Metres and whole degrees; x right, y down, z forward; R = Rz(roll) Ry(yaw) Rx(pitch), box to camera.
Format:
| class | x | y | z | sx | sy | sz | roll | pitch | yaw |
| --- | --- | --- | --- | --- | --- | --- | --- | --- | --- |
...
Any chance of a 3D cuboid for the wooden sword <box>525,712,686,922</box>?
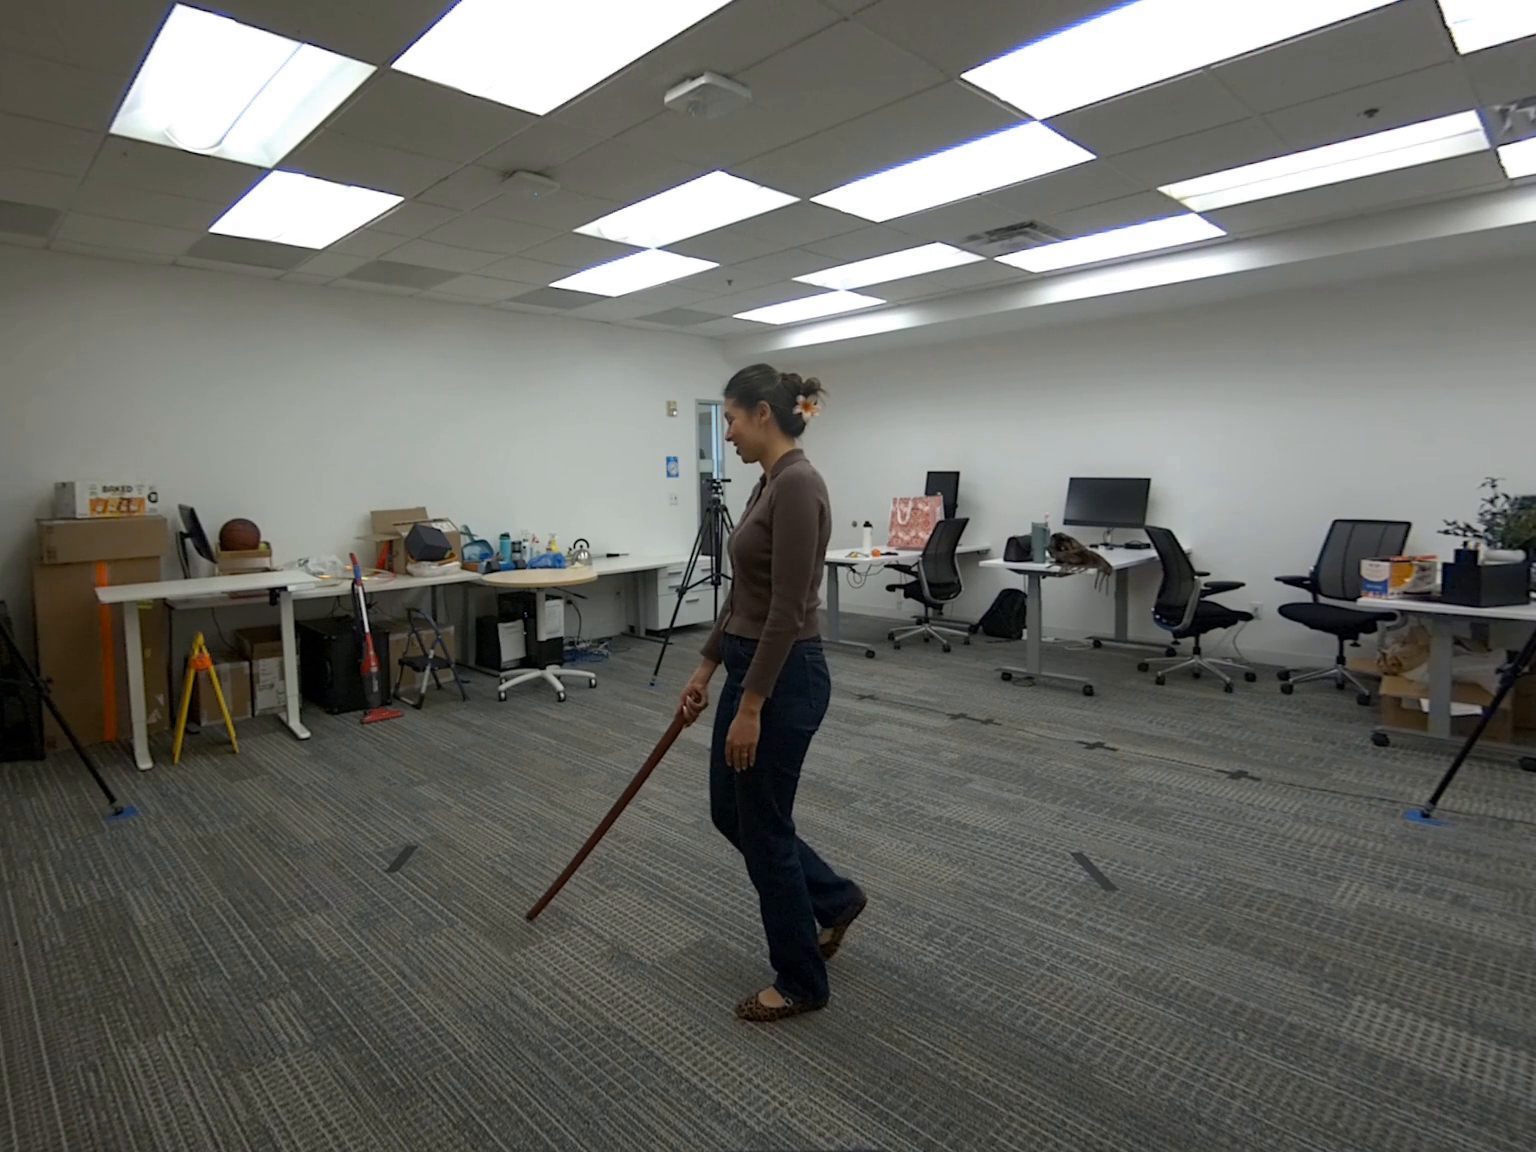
| class | x | y | z | sx | sy | sz | roll | pitch | yaw |
| --- | --- | --- | --- | --- | --- | --- | --- | --- | --- |
| wooden sword | -0.481 | 0.735 | 2.564 | 0.024 | 1.021 | 0.051 | 36 | 20 | -3 |
